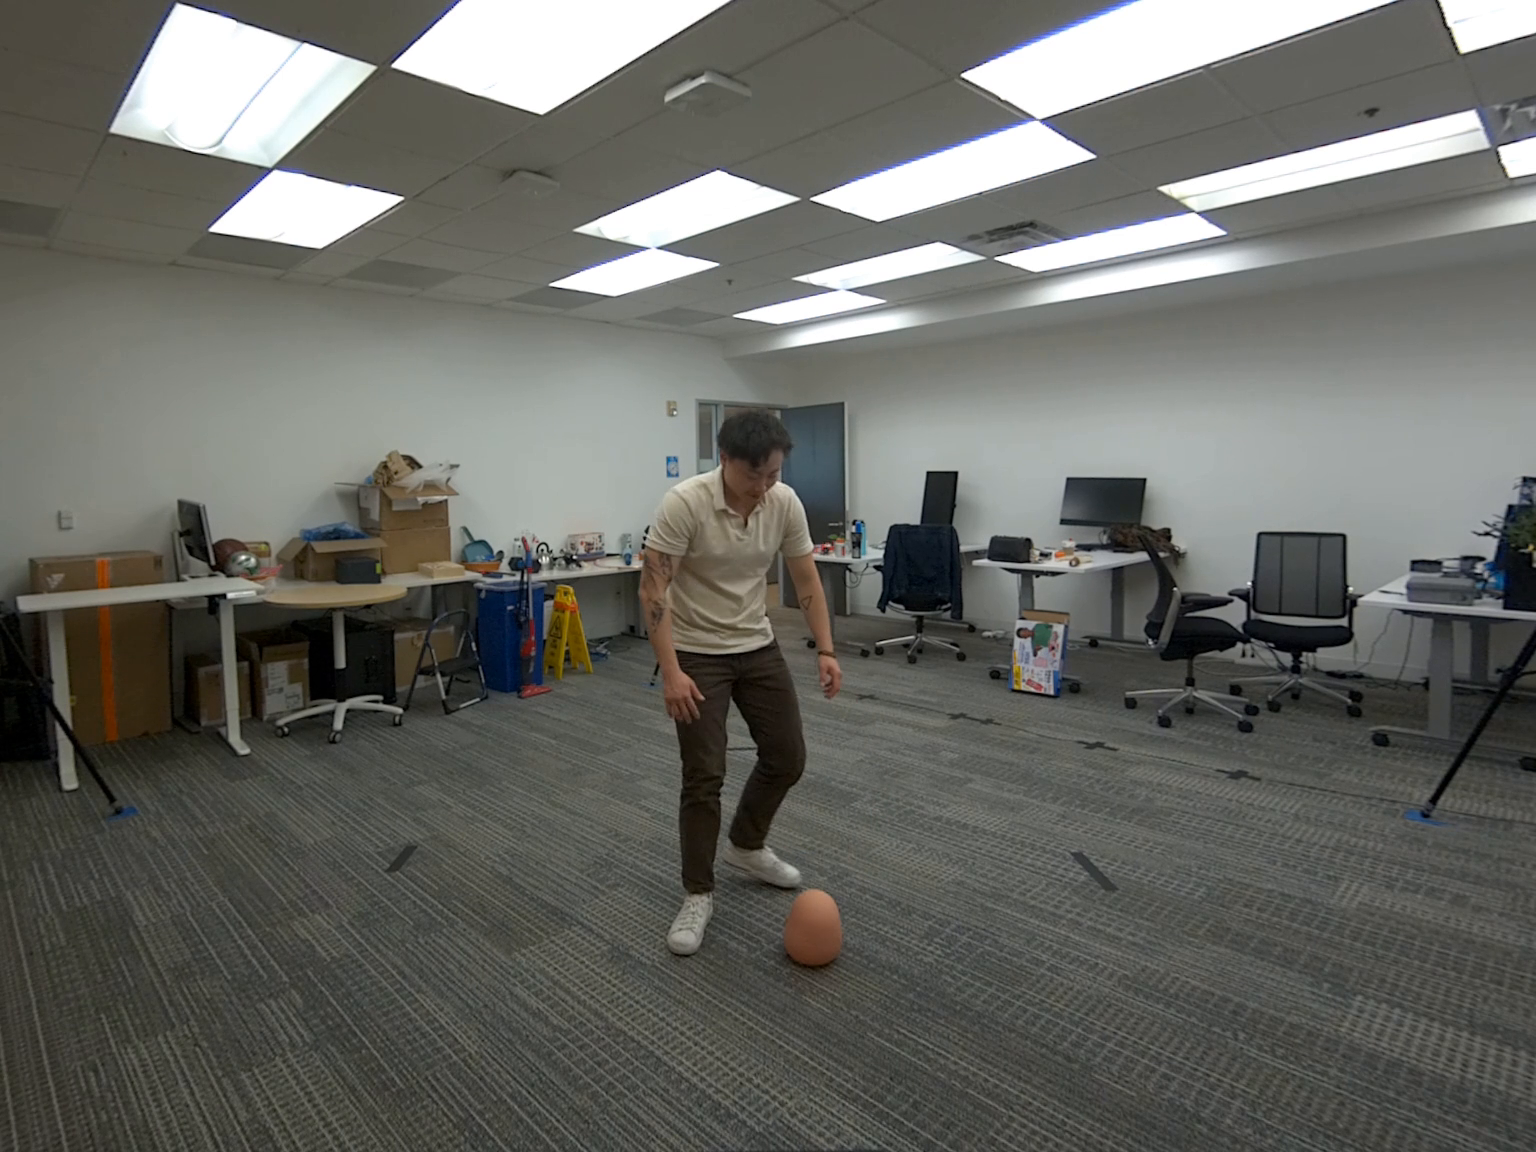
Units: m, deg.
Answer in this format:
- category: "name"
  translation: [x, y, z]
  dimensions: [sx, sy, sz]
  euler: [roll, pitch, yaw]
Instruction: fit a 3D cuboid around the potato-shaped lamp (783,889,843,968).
- category: "potato-shaped lamp"
  translation: [0.139, 1.012, 2.481]
  dimensions: [0.161, 0.197, 0.175]
  euler: [-3, 4, -23]
